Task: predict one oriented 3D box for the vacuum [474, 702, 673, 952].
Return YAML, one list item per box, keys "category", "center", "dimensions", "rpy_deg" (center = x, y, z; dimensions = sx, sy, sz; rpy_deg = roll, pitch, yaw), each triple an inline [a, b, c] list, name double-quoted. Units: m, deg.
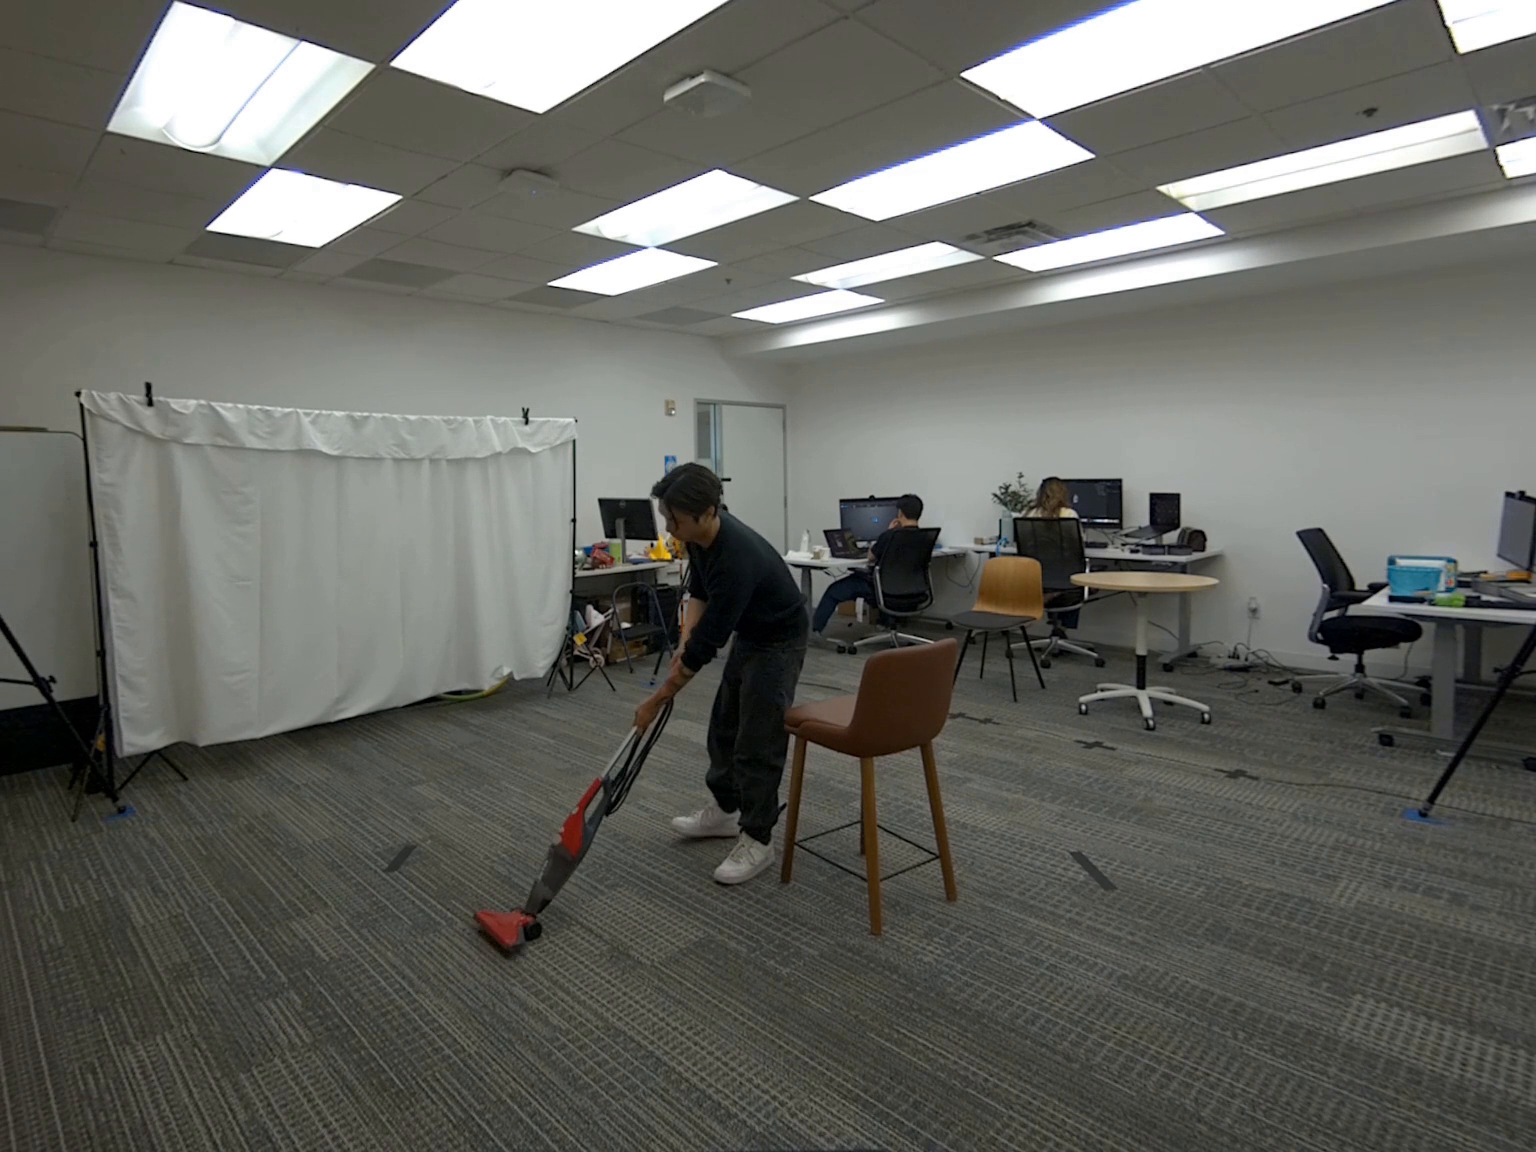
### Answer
- category: "vacuum"
  center: [-0.519, 0.697, 2.835]
  dimensions: [0.261, 1.053, 0.139]
  rpy_deg: [8, -34, 46]
